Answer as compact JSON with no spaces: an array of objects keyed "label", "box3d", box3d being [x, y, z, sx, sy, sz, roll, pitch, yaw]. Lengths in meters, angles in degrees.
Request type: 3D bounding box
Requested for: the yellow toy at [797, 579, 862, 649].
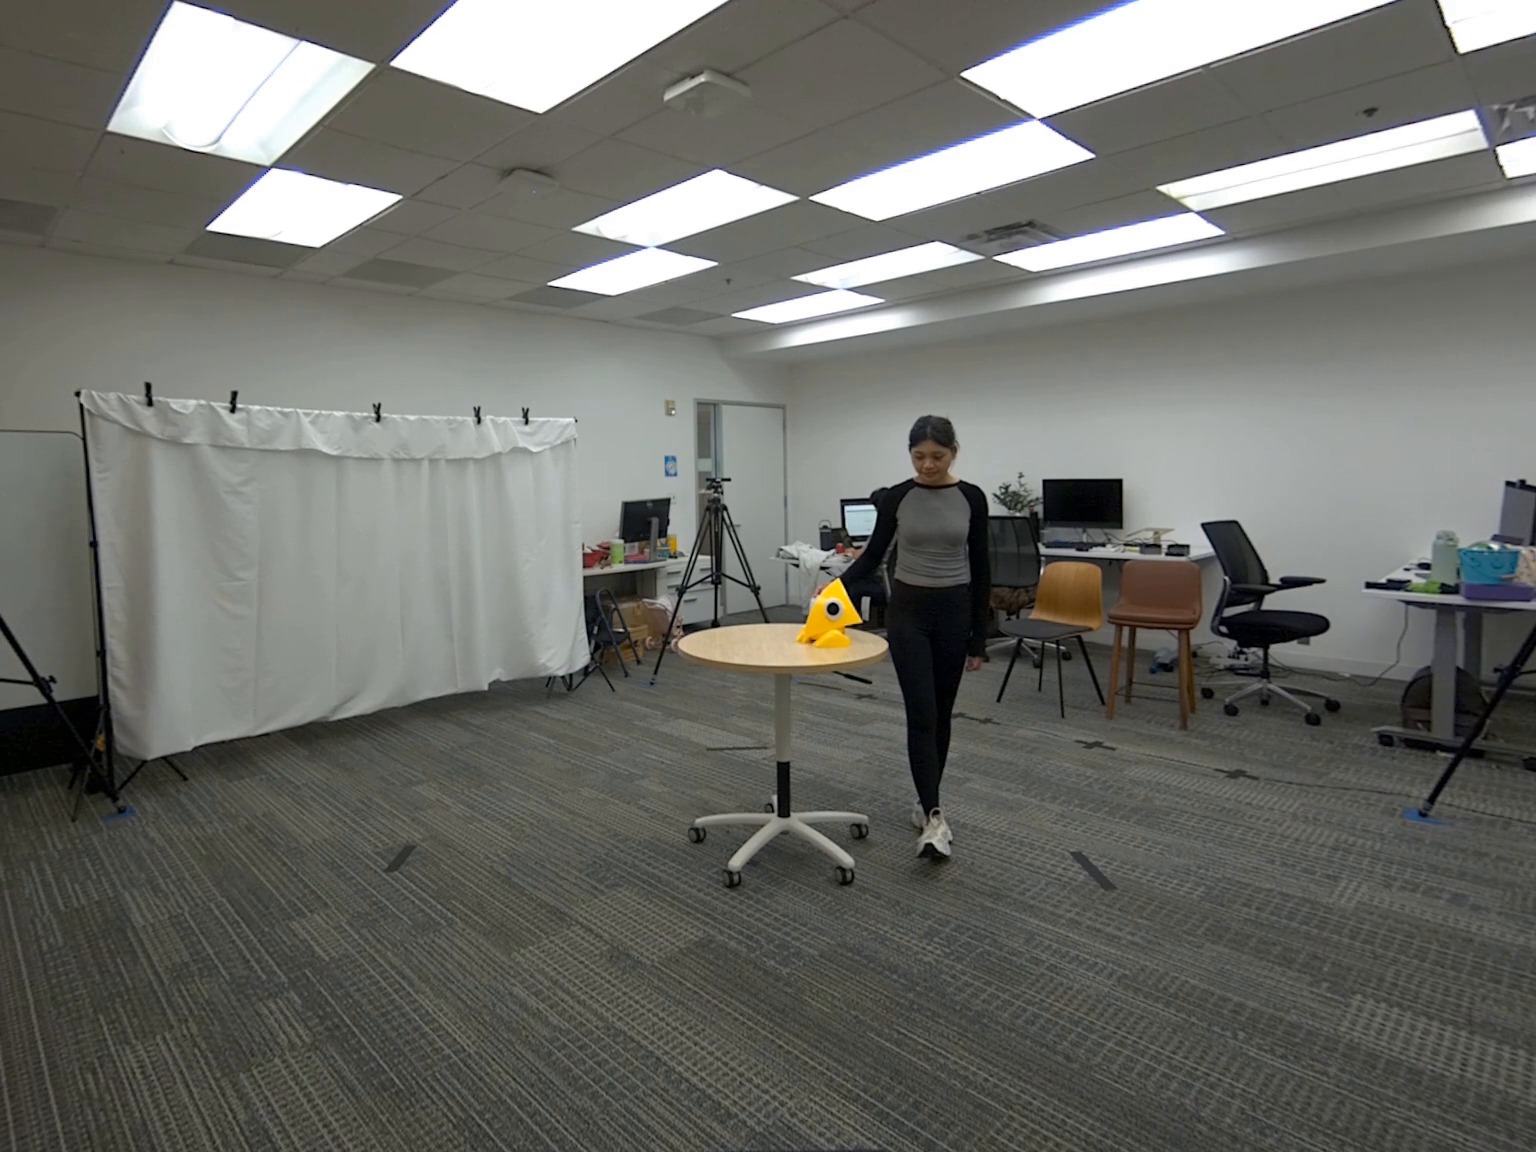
[{"label":"yellow toy","box3d":[0.214,0.130,3.127,0.188,0.230,0.210,-4,6,-30]}]
